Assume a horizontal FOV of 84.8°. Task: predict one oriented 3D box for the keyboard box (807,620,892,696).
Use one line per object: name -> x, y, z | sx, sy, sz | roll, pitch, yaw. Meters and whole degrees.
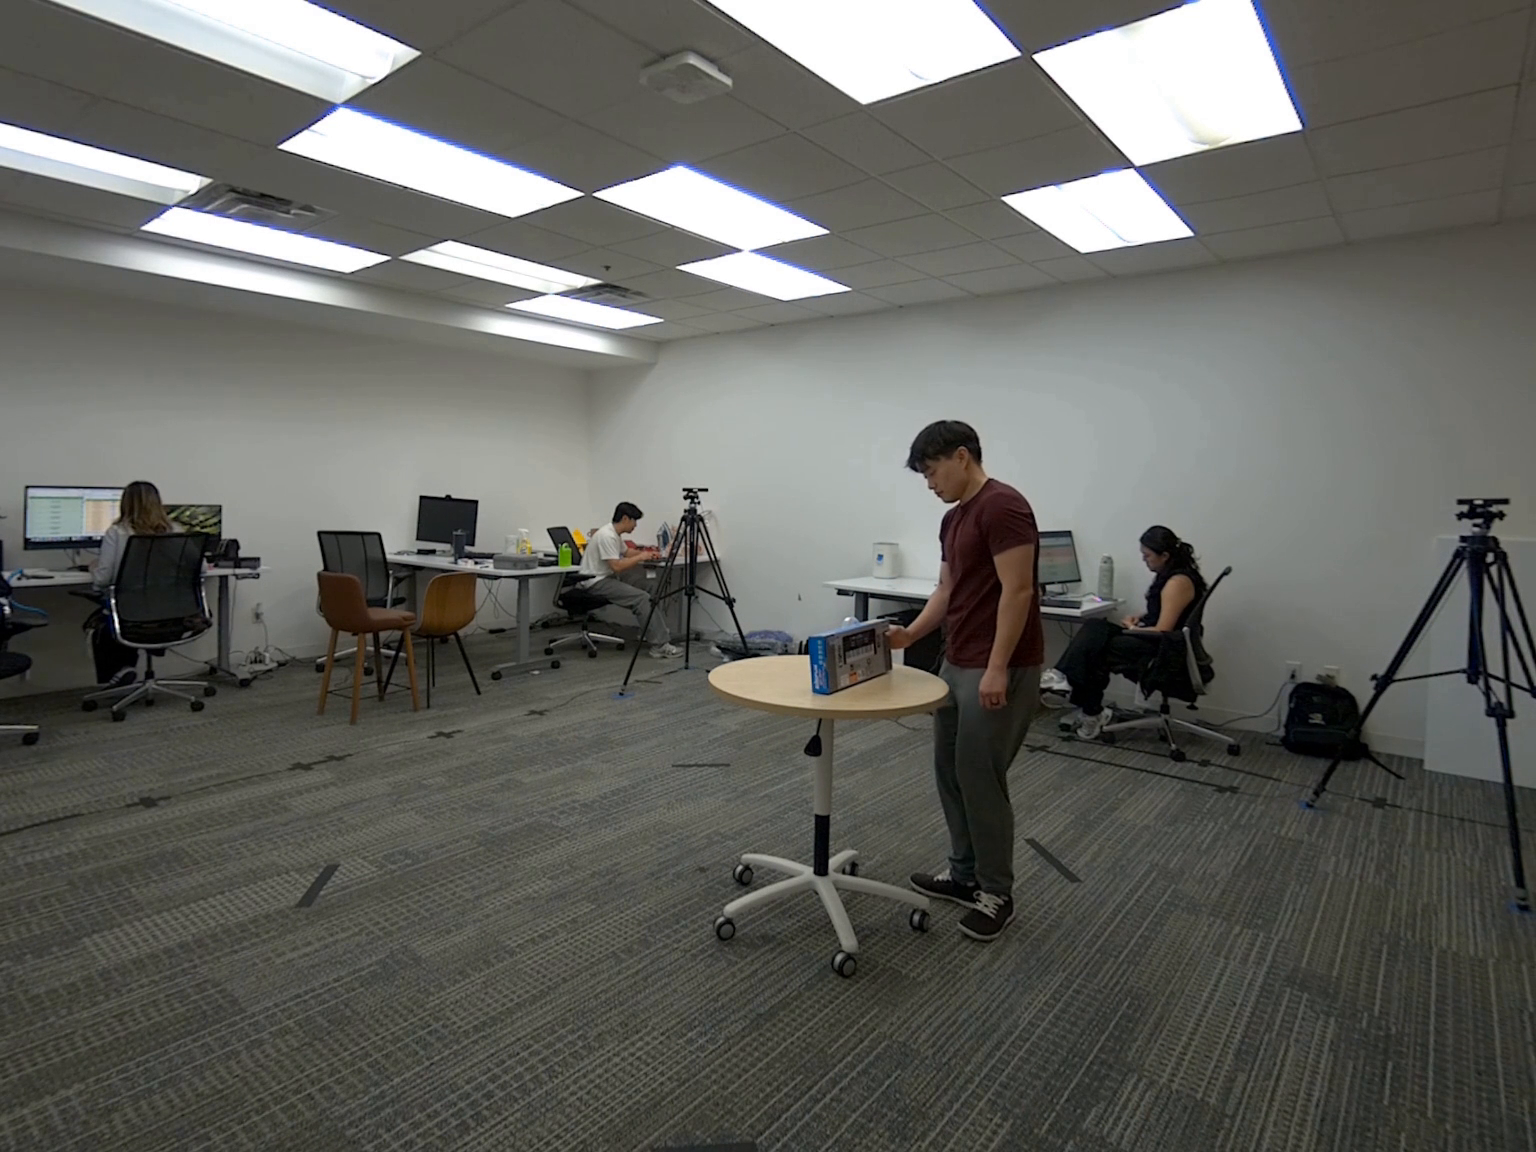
keyboard box -> 0.264, 0.250, 2.721 | 0.061, 0.176, 0.425 | -3, 2, 36
